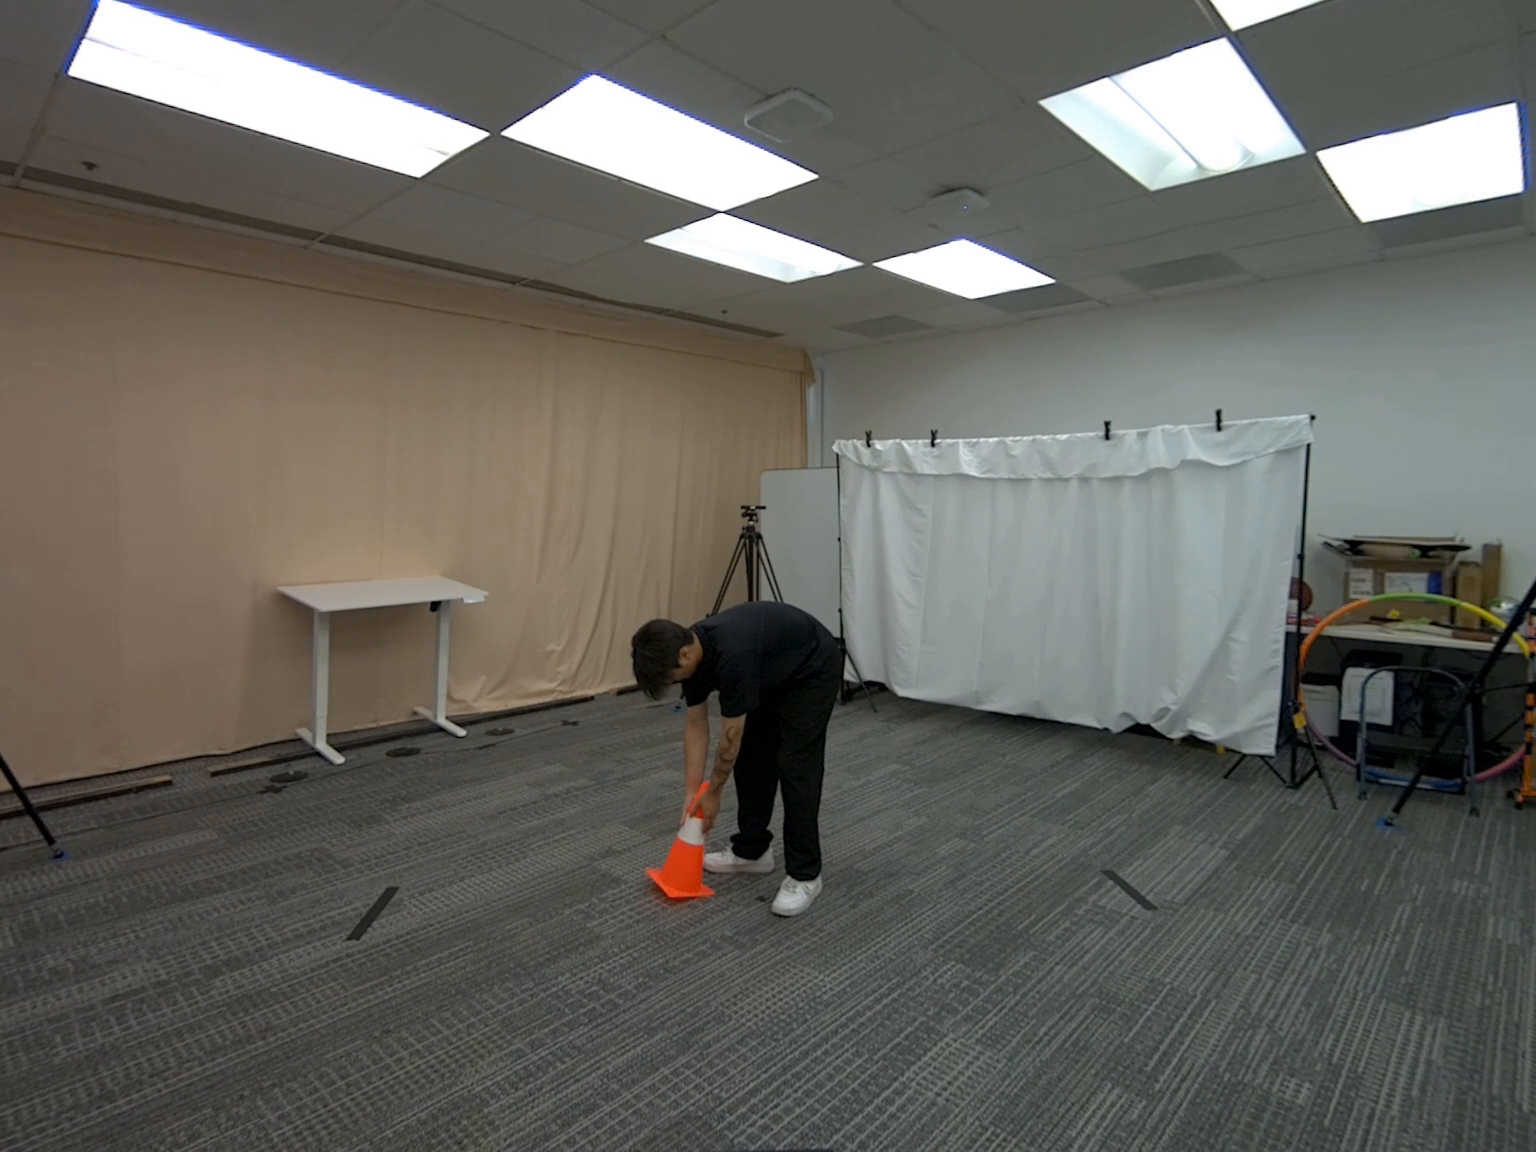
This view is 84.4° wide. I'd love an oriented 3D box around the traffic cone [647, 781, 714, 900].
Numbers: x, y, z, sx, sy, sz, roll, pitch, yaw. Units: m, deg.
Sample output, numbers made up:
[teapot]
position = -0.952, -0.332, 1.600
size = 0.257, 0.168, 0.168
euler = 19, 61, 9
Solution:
[traffic cone]
position = -0.269, 0.942, 3.057
size = 0.212, 0.383, 0.196
euler = 14, 0, 44
